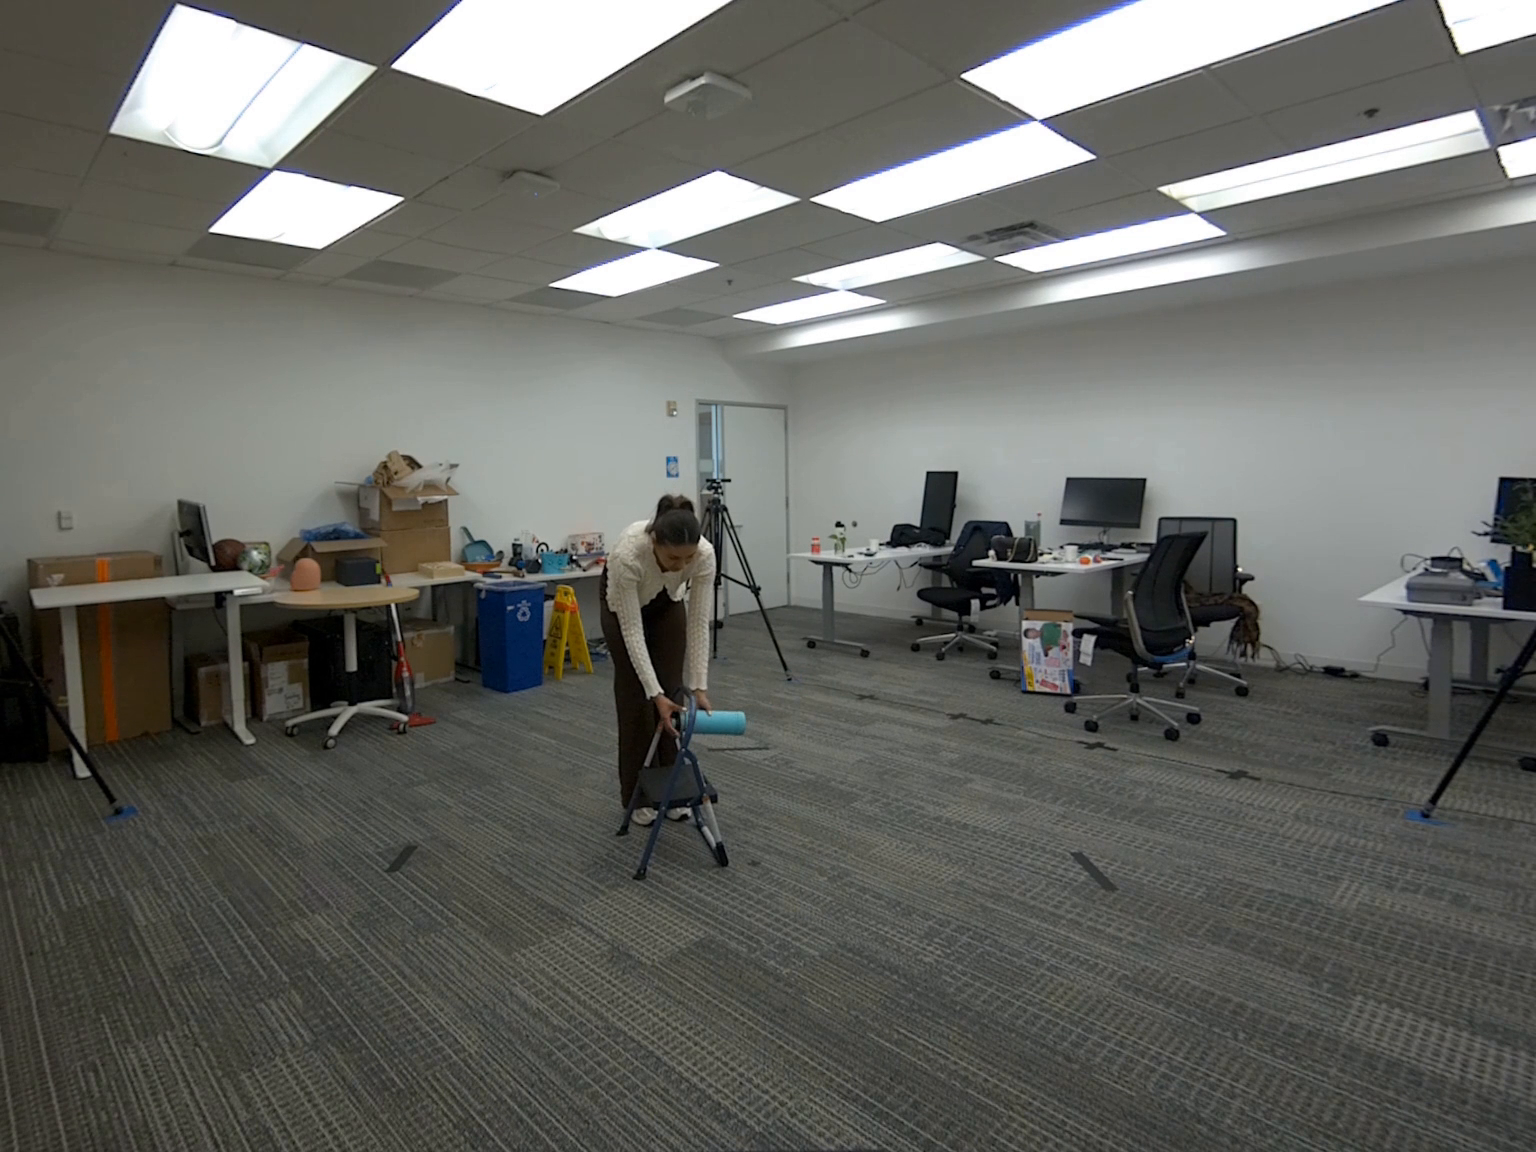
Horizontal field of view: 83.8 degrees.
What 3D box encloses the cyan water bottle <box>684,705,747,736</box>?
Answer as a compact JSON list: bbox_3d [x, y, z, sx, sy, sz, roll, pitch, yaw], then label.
[{"bbox_3d":[-0.230,0.558,3.272,0.281,0.092,0.093,2,4,-7],"label":"cyan water bottle"}]
